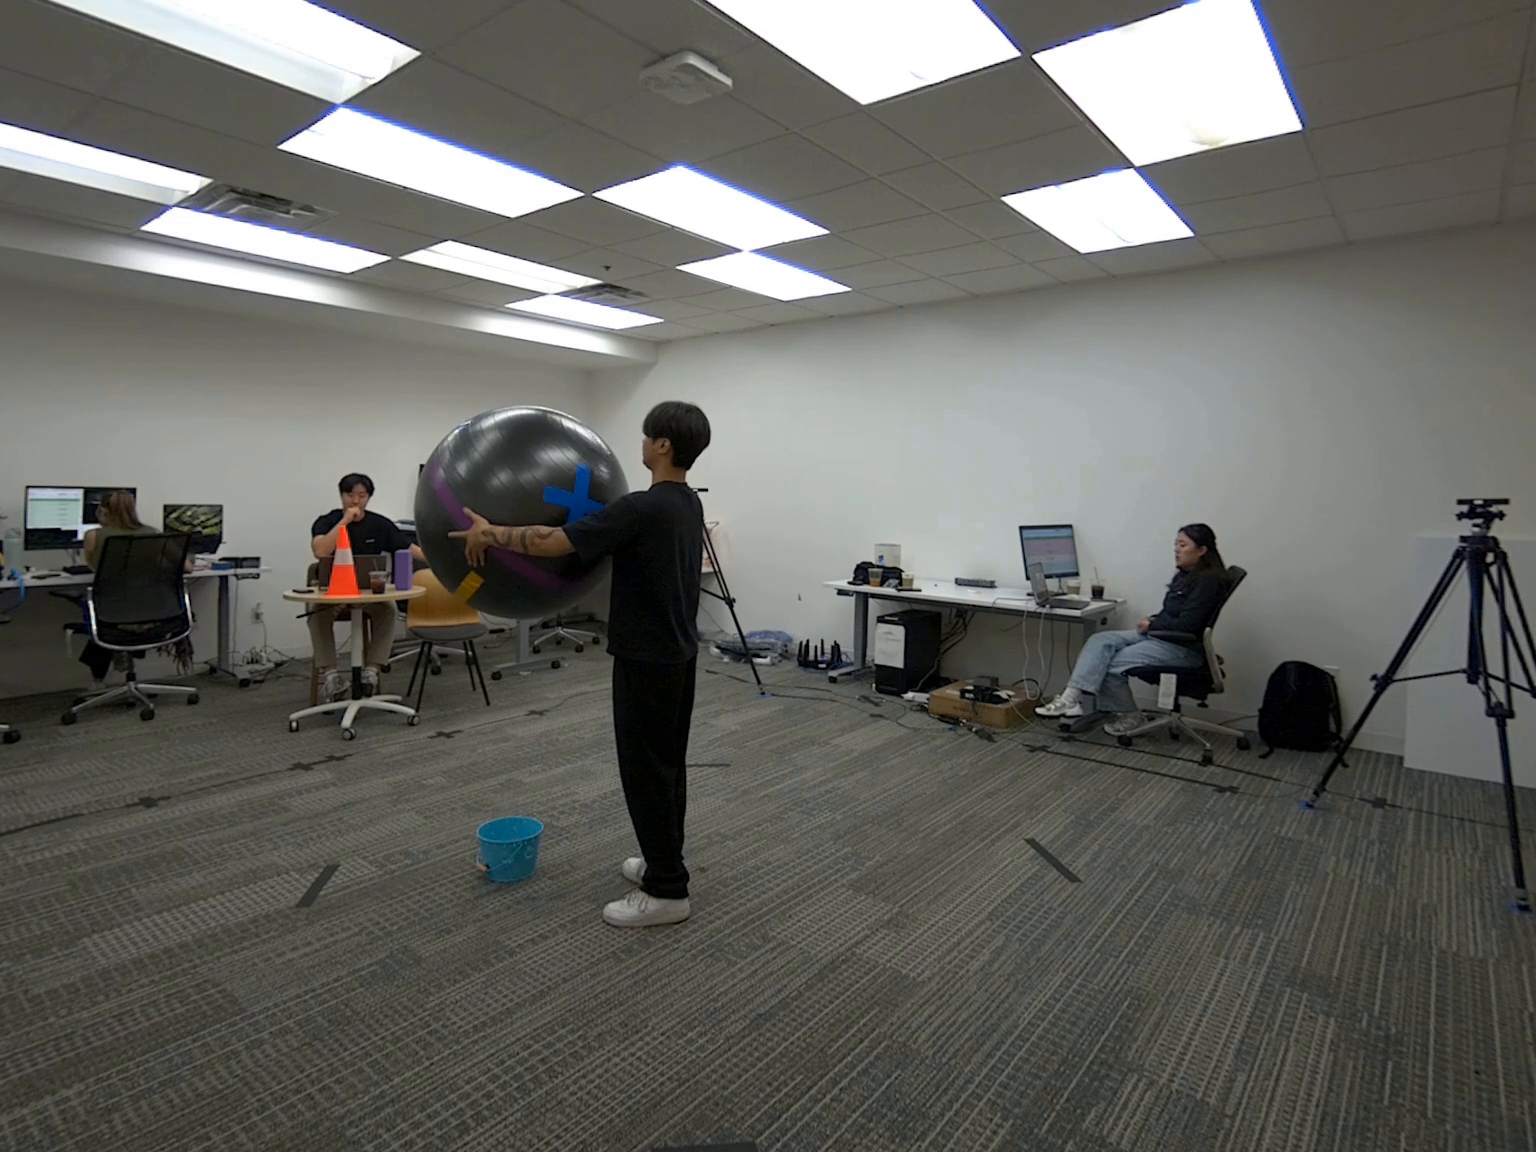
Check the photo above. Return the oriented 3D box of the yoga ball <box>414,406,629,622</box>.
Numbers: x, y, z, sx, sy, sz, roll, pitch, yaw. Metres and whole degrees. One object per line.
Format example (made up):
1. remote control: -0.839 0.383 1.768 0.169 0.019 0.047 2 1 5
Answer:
1. yoga ball: -0.885 -0.228 3.048 0.757 0.756 0.762 1 4 -2
